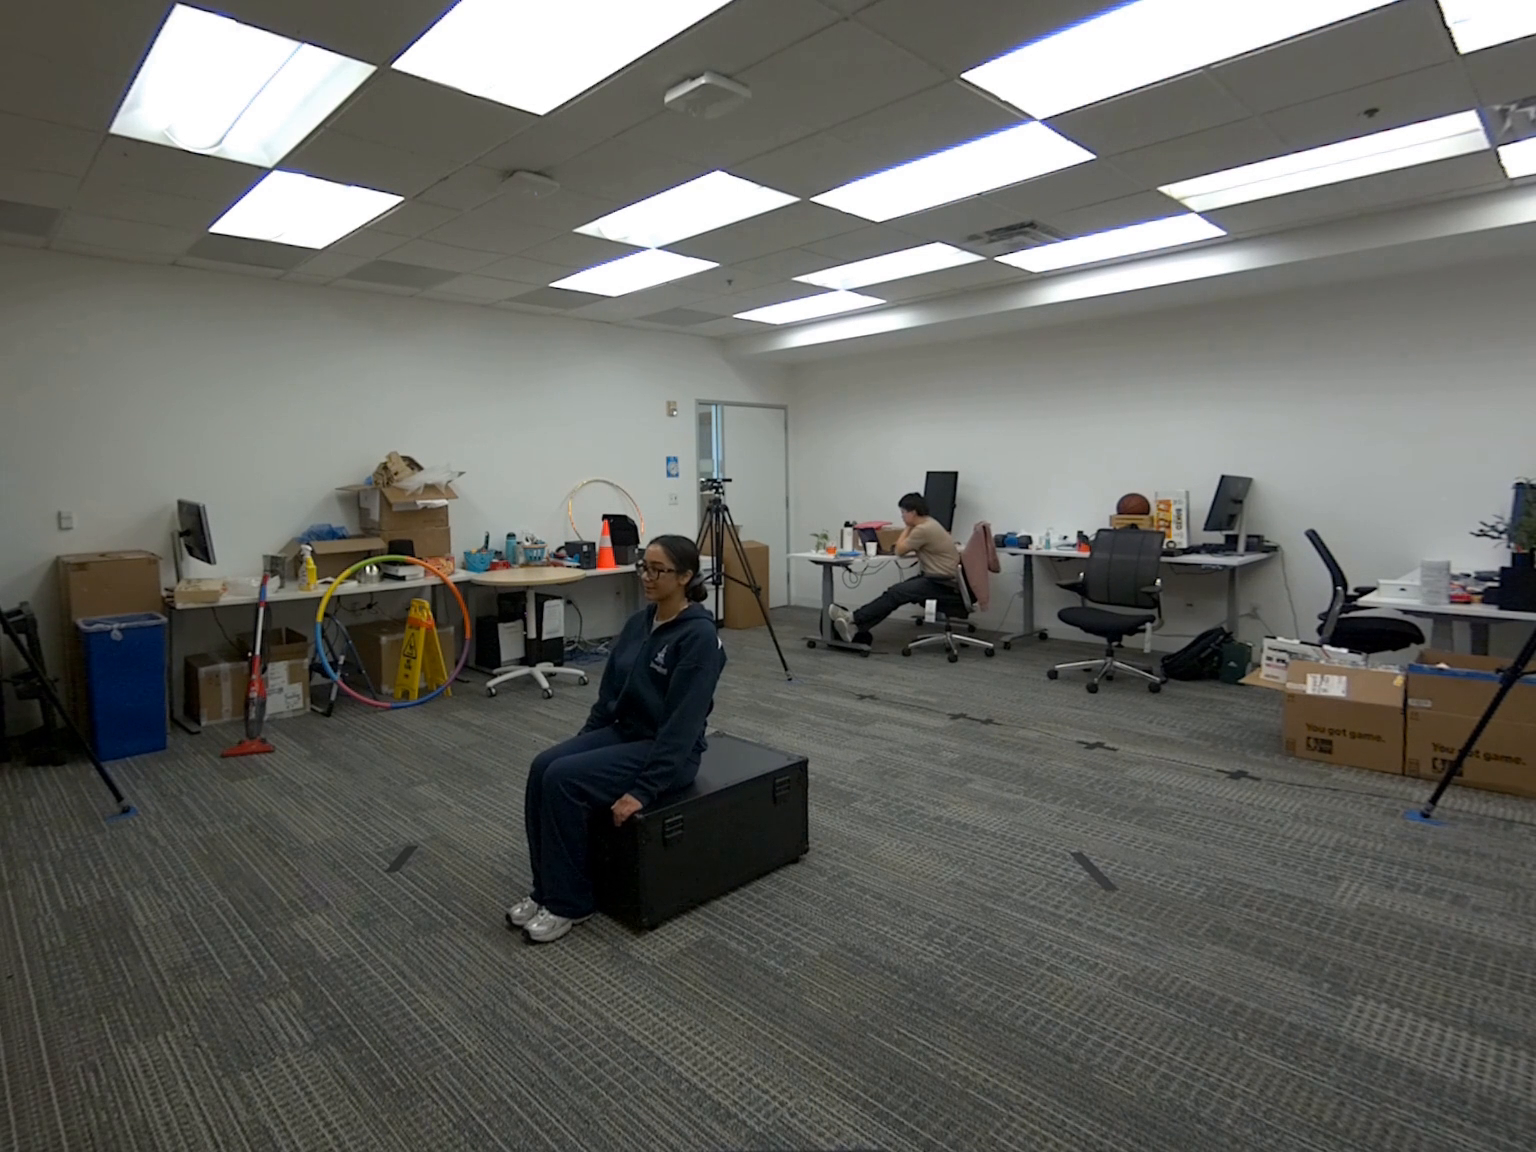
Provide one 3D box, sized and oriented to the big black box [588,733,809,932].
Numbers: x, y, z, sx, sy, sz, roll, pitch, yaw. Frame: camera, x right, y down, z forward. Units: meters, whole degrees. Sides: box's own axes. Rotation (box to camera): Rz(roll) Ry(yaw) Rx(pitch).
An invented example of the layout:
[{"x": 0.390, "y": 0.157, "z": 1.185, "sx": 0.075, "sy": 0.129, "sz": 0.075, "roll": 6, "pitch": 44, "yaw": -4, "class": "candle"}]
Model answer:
[{"x": -0.264, "y": 0.867, "z": 3.060, "sx": 0.840, "sy": 0.394, "sz": 0.537, "roll": -8, "pitch": 9, "yaw": -44, "class": "big black box"}]
